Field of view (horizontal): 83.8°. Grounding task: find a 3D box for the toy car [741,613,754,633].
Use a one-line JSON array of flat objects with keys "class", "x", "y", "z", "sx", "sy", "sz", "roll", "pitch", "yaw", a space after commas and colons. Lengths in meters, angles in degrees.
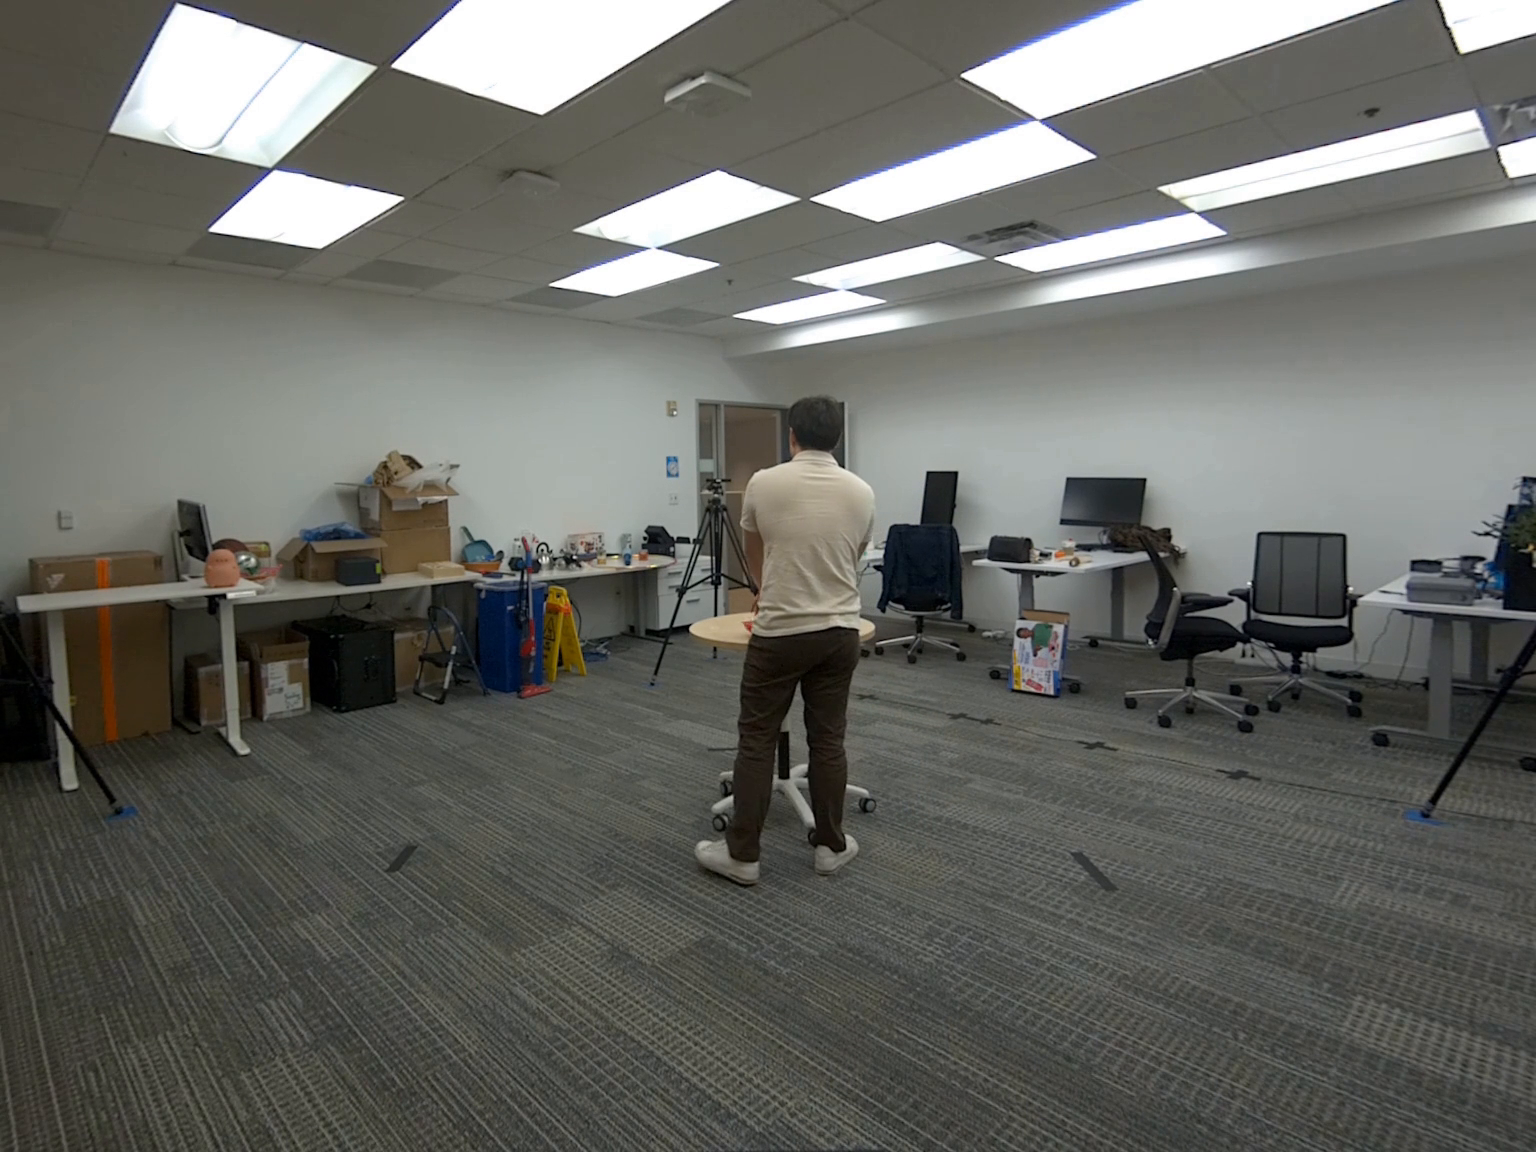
[{"class": "toy car", "x": 0.024, "y": 0.203, "z": 3.342, "sx": 0.251, "sy": 0.083, "sz": 0.132, "roll": 8, "pitch": 3, "yaw": -14}]
